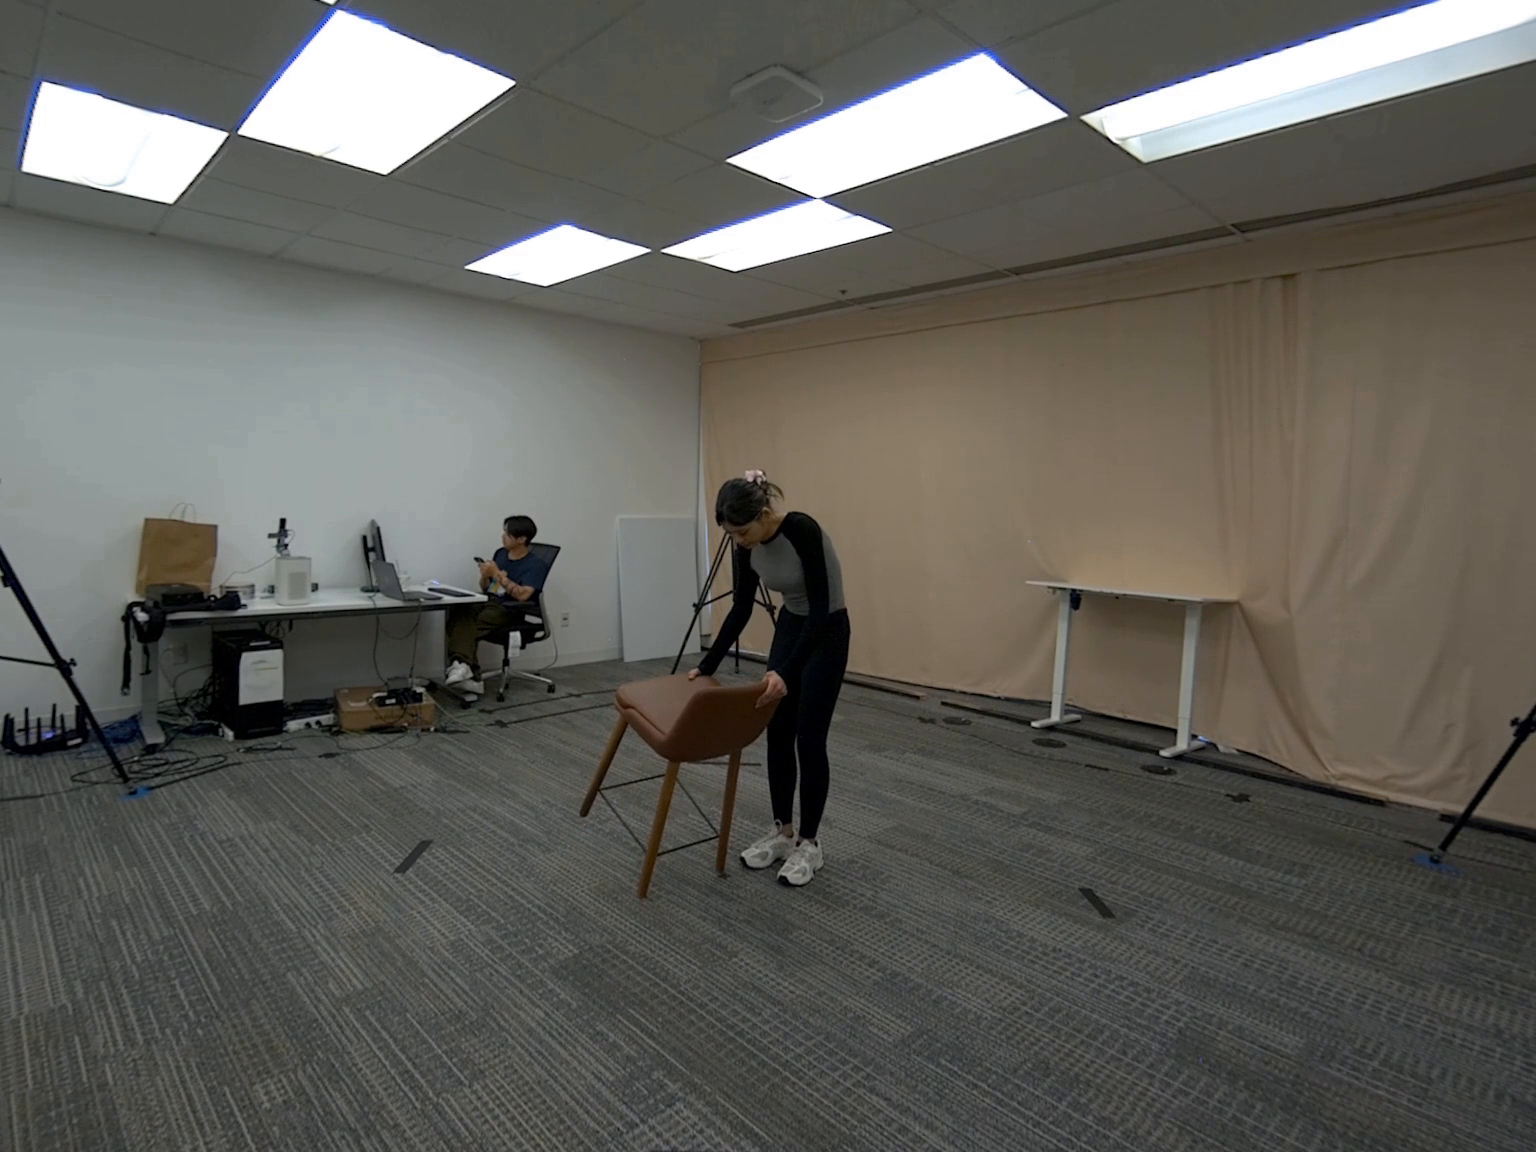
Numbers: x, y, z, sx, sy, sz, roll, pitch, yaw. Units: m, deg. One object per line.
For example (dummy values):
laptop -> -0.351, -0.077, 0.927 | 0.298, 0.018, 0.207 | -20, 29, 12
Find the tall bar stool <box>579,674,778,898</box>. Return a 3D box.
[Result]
tall bar stool -> -0.318, 0.632, 3.017 | 0.446, 0.881, 0.483 | -2, 29, -40
